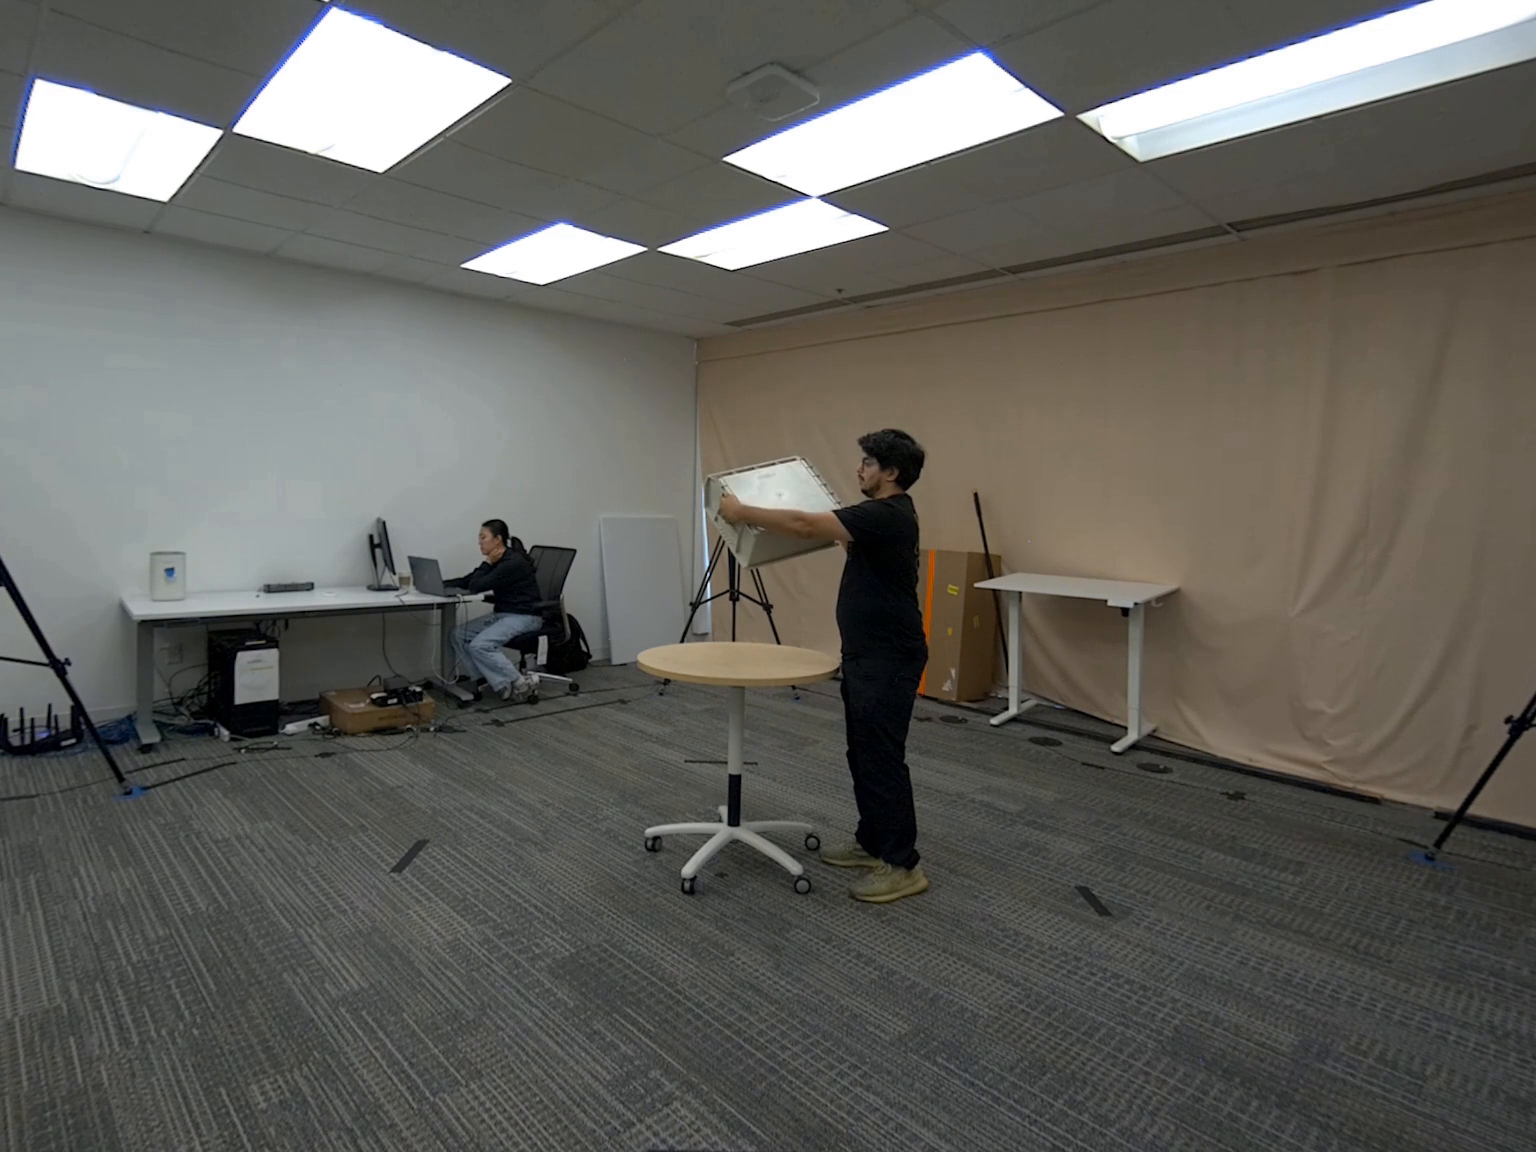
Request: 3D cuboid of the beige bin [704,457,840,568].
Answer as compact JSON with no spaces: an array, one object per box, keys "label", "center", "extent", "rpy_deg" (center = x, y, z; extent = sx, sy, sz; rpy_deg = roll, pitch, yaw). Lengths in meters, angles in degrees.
[{"label":"beige bin","center":[0.013,-0.257,3.196],"extent":[0.417,0.186,0.388],"rpy_deg":[-16,53,-25]}]
